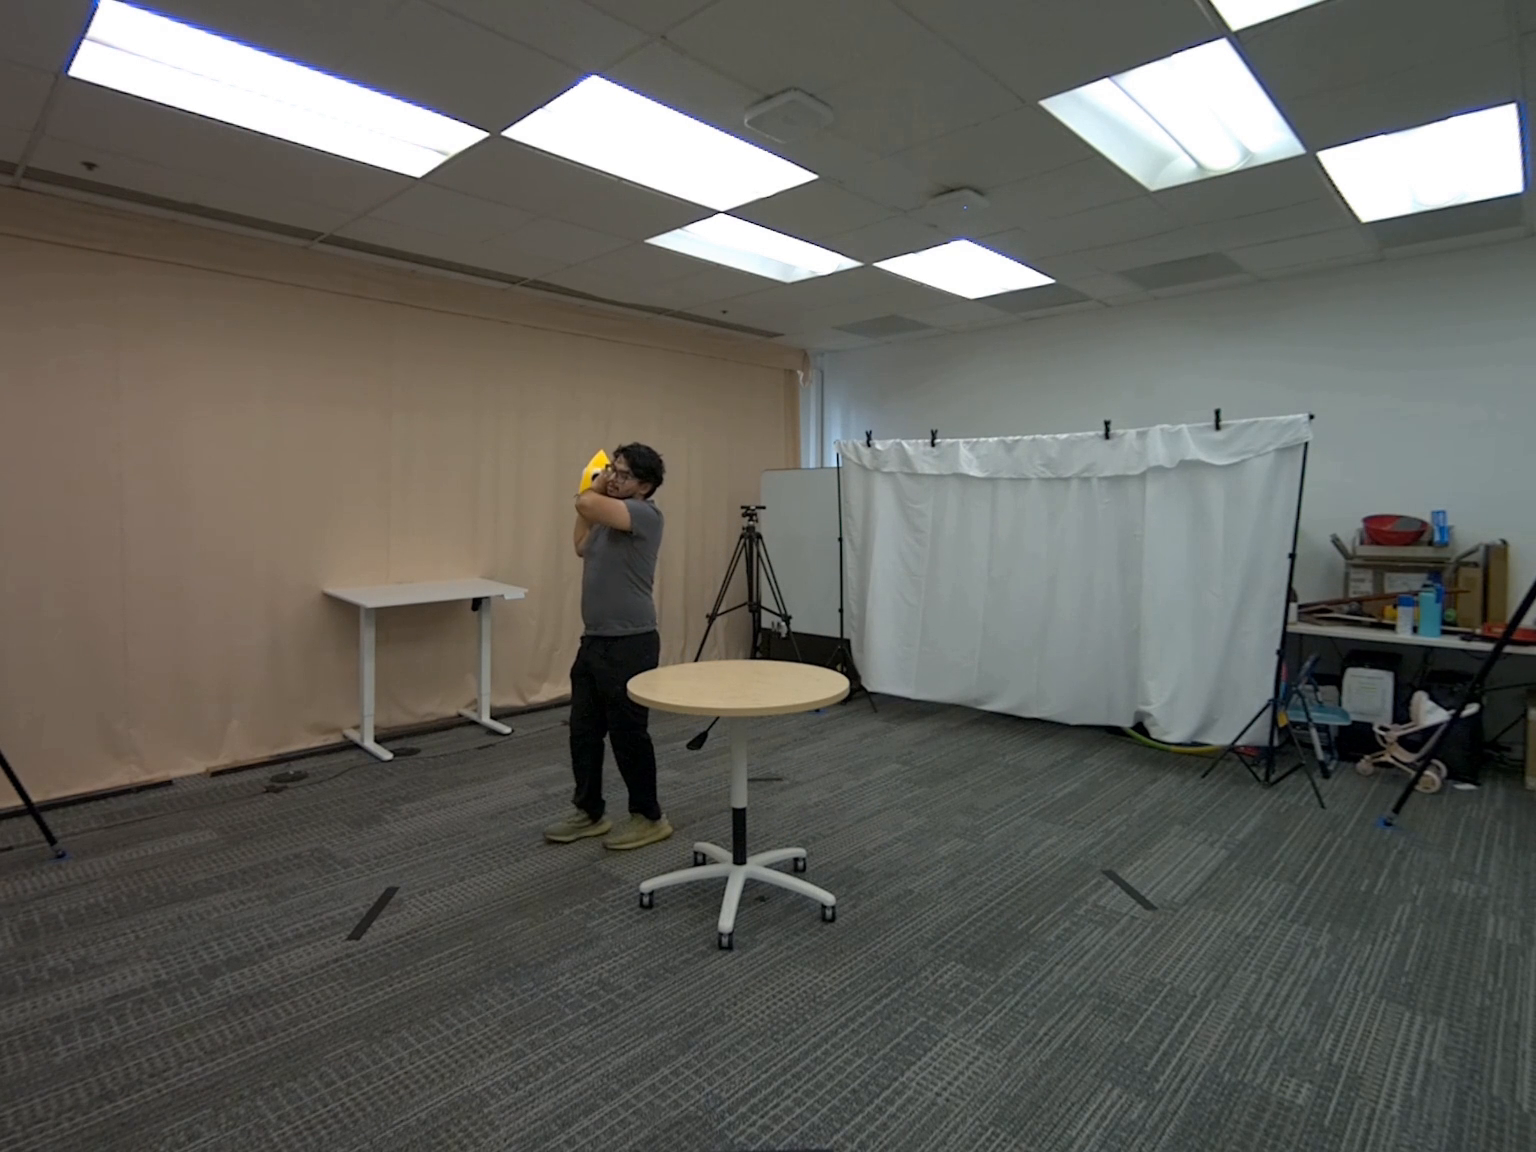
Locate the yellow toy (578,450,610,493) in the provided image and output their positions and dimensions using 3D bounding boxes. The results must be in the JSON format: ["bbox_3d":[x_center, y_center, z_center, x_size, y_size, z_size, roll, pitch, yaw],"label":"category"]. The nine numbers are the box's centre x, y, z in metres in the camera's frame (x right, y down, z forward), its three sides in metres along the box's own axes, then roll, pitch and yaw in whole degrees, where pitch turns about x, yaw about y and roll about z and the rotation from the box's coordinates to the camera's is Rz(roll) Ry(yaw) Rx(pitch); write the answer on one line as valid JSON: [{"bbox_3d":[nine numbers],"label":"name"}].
[{"bbox_3d":[-0.725,-0.402,3.522,0.189,0.227,0.212,-22,22,-28],"label":"yellow toy"}]
